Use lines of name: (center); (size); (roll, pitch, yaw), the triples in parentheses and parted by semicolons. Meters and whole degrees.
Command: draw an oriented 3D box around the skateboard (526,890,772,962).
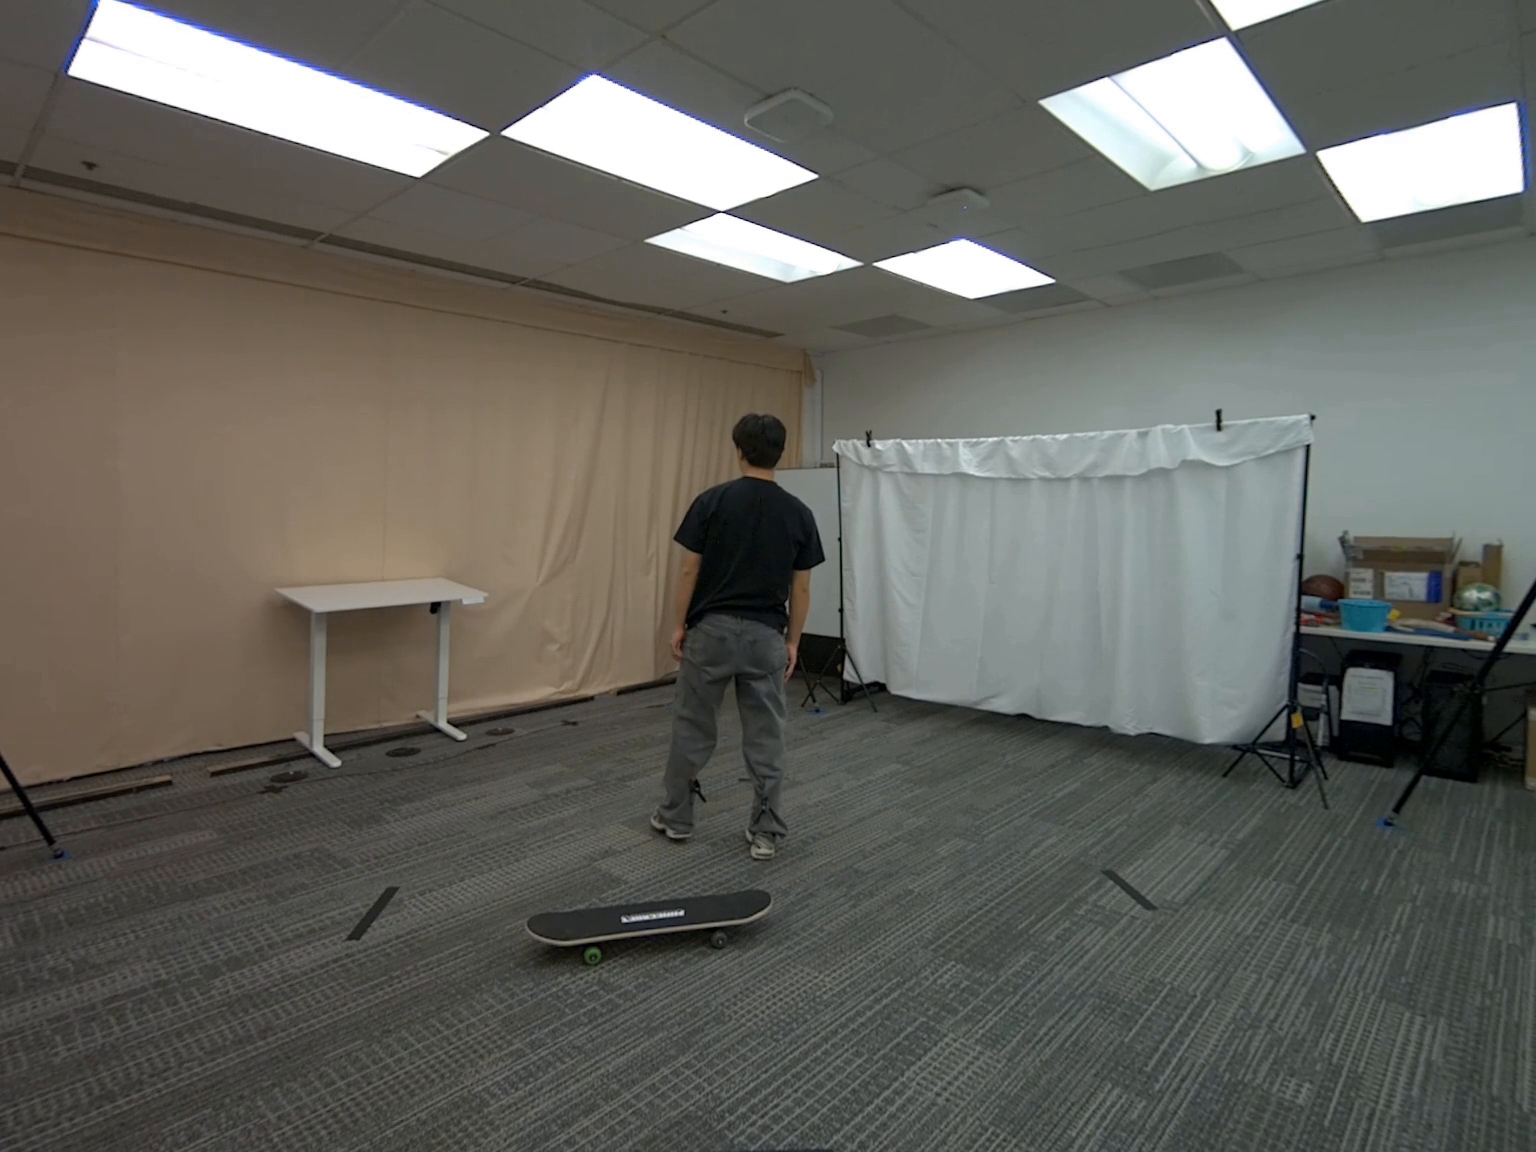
skateboard: (-0.369, 1.120, 2.677); (0.775, 0.110, 0.196); (-1, 4, -13)
